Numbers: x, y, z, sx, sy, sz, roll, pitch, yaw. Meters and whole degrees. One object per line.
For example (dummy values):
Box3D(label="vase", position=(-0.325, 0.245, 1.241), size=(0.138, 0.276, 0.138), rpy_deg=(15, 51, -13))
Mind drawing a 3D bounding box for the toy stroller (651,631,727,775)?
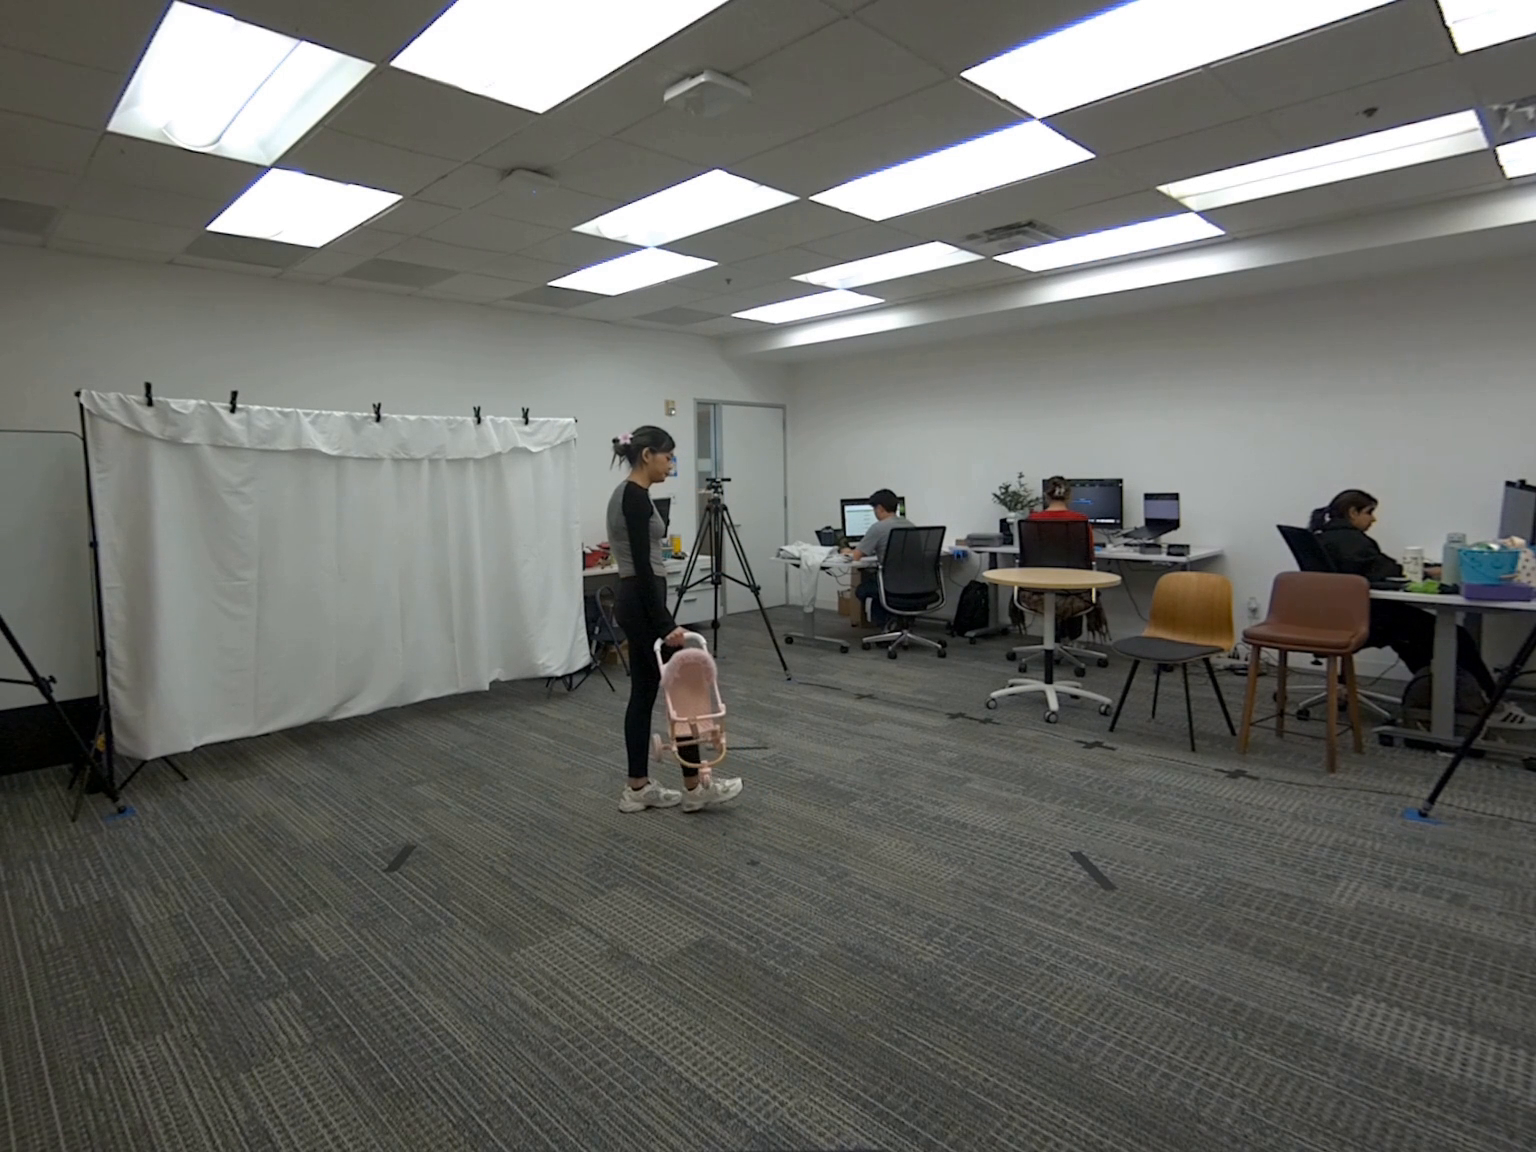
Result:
Box3D(label="toy stroller", position=(-0.284, 0.503, 3.224), size=(0.278, 0.535, 0.346), rpy_deg=(-3, 1, -15))
